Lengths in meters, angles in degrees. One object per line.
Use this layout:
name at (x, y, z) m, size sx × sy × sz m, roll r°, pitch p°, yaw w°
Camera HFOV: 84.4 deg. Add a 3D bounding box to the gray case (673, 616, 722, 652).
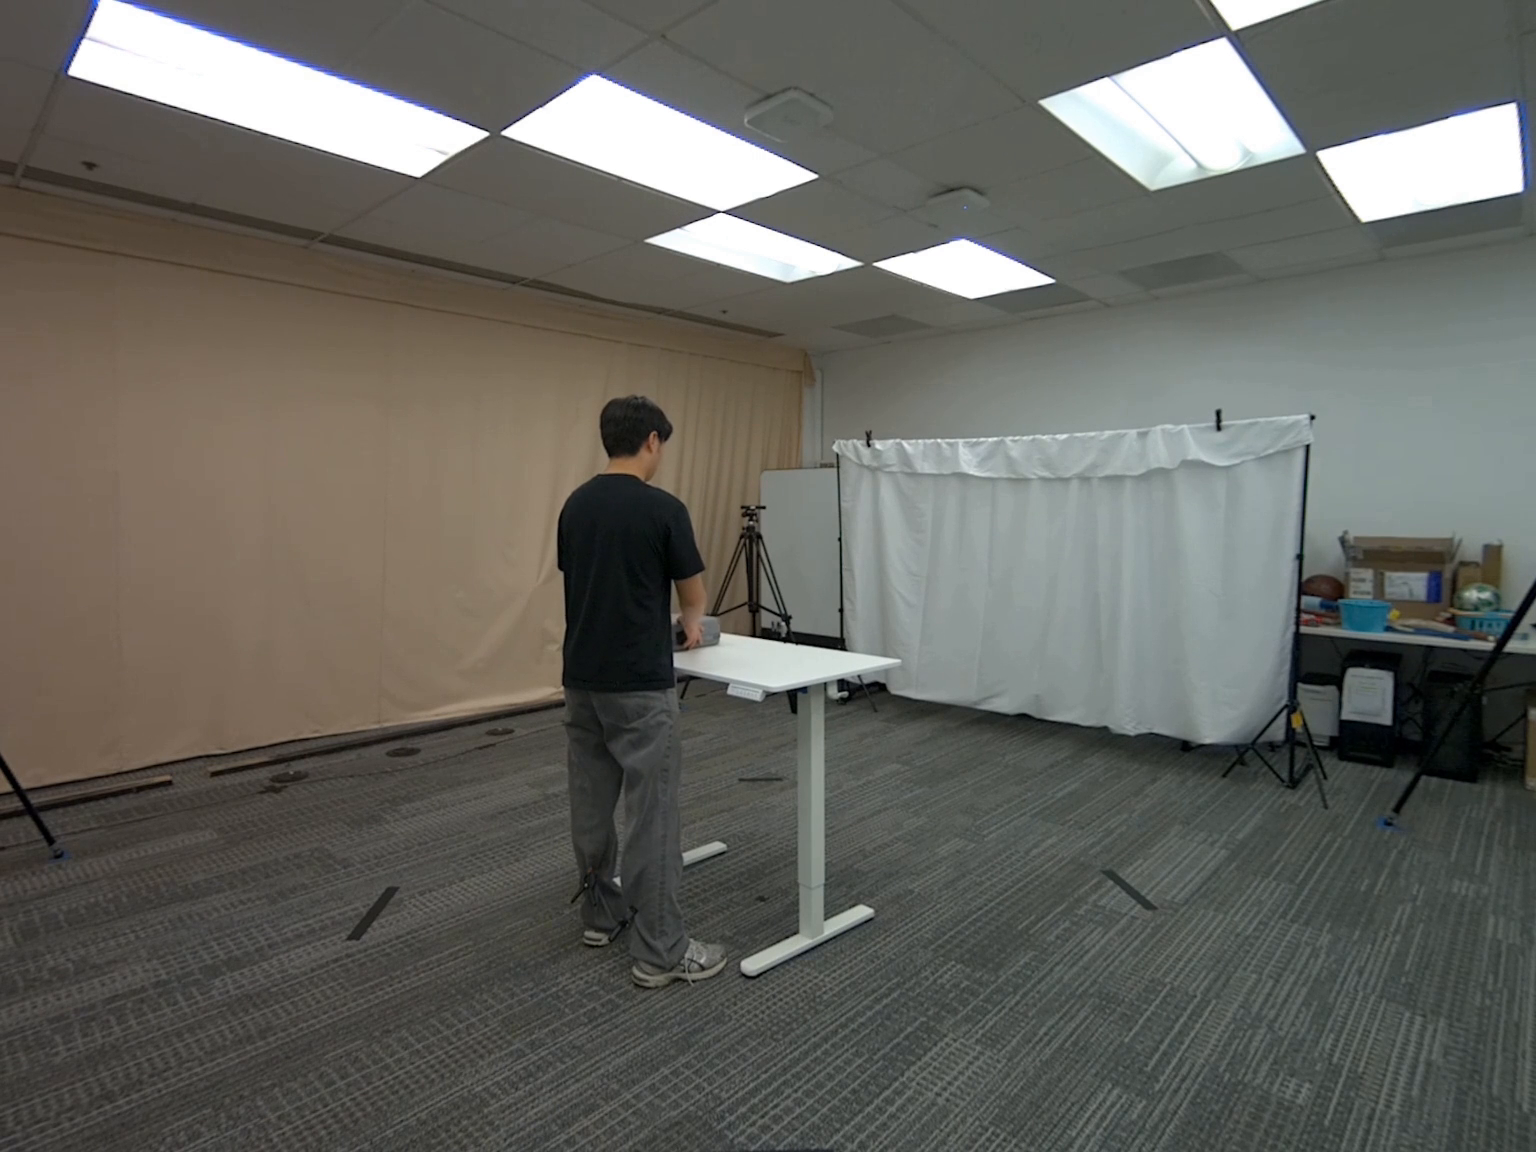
gray case at (-0.343, 0.203, 3.111) m, size 0.255 × 0.103 × 0.297 m, roll -4°, pitch 6°, yaw -44°
